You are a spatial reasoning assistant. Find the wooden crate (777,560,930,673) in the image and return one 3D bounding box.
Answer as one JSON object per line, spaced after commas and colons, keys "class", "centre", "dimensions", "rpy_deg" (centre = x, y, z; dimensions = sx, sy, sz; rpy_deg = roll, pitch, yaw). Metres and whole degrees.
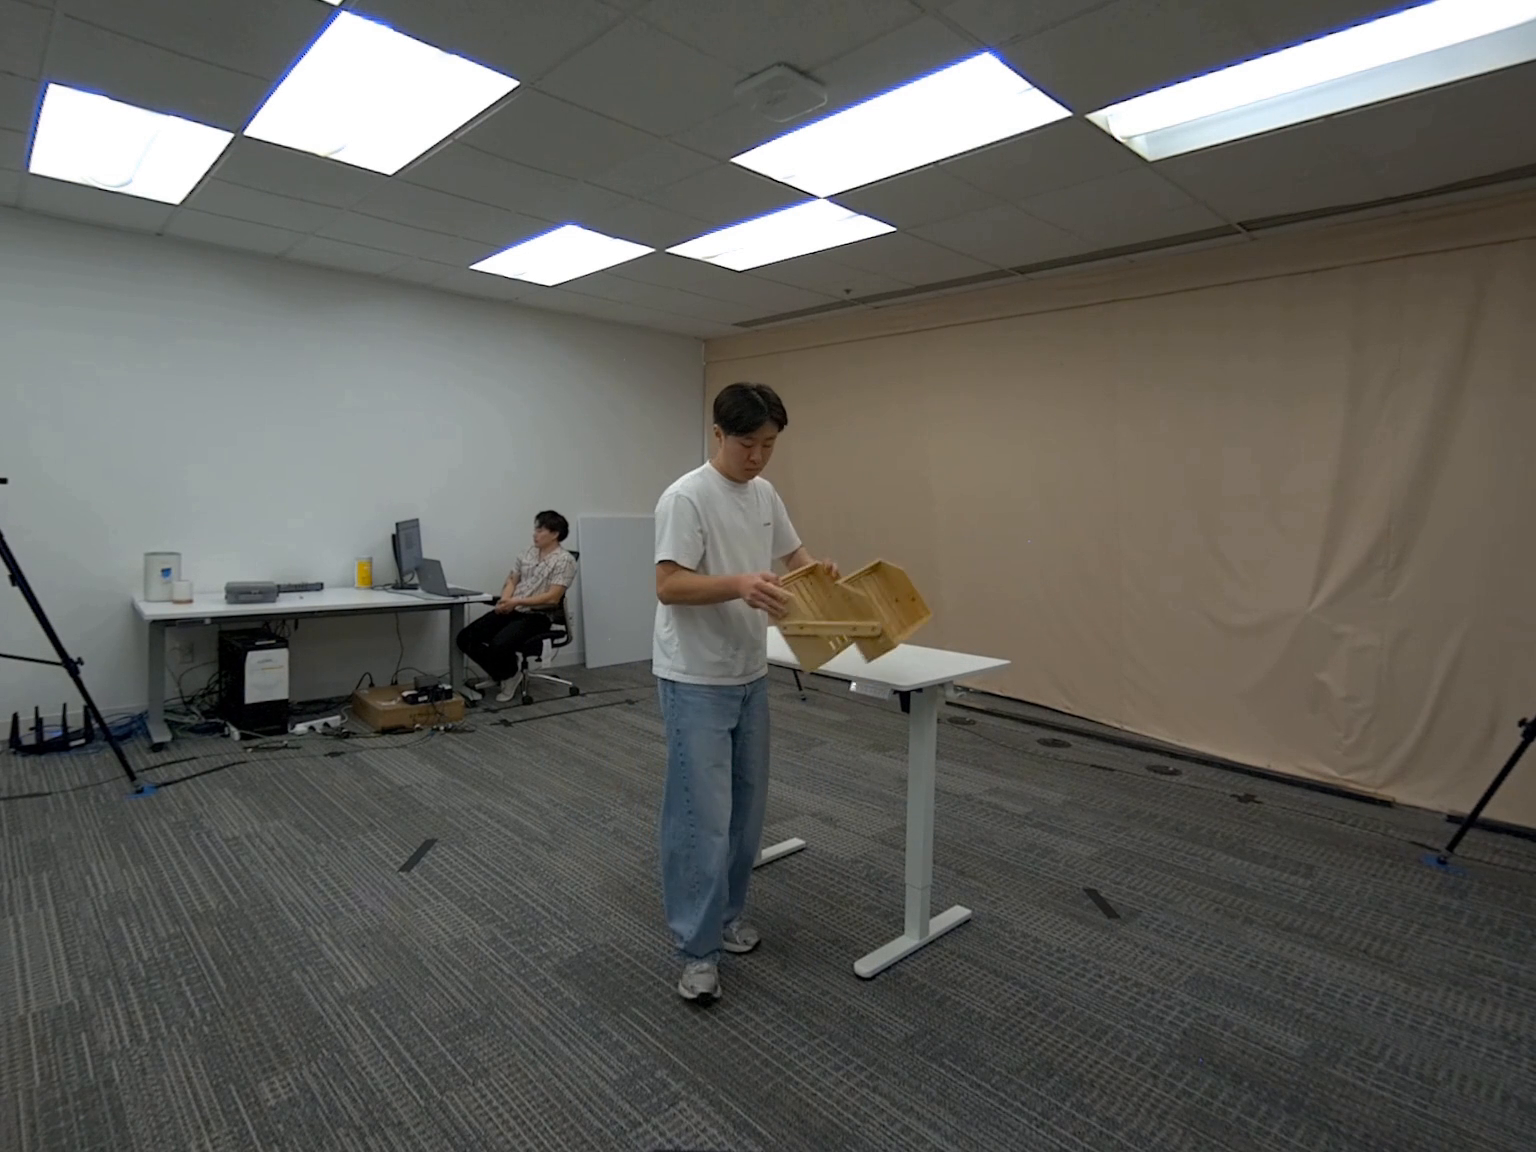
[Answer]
{"class": "wooden crate", "centre": [0.197, 0.096, 2.229], "dimensions": [0.275, 0.304, 0.320], "rpy_deg": [-35, -7, 31]}
